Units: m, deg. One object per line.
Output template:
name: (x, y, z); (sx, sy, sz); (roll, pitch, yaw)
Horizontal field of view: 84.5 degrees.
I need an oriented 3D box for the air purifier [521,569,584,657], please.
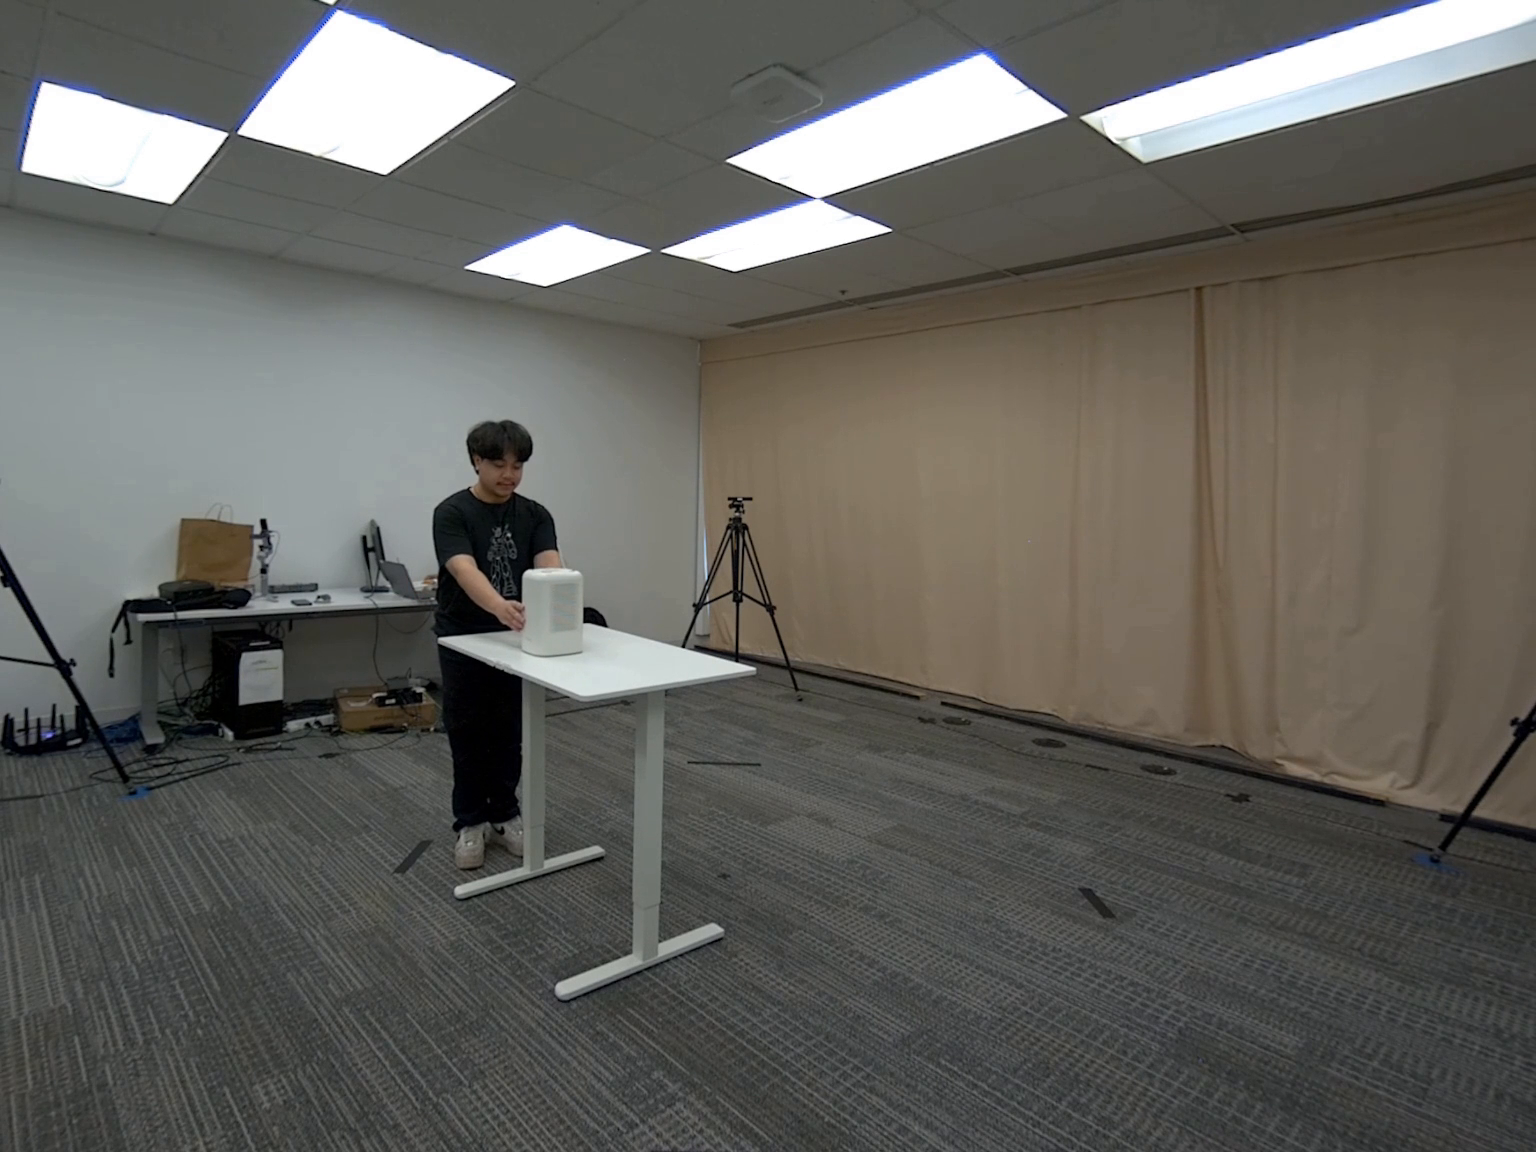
air purifier: (-0.705, 0.113, 2.715); (0.168, 0.264, 0.175); (-2, 6, -42)
